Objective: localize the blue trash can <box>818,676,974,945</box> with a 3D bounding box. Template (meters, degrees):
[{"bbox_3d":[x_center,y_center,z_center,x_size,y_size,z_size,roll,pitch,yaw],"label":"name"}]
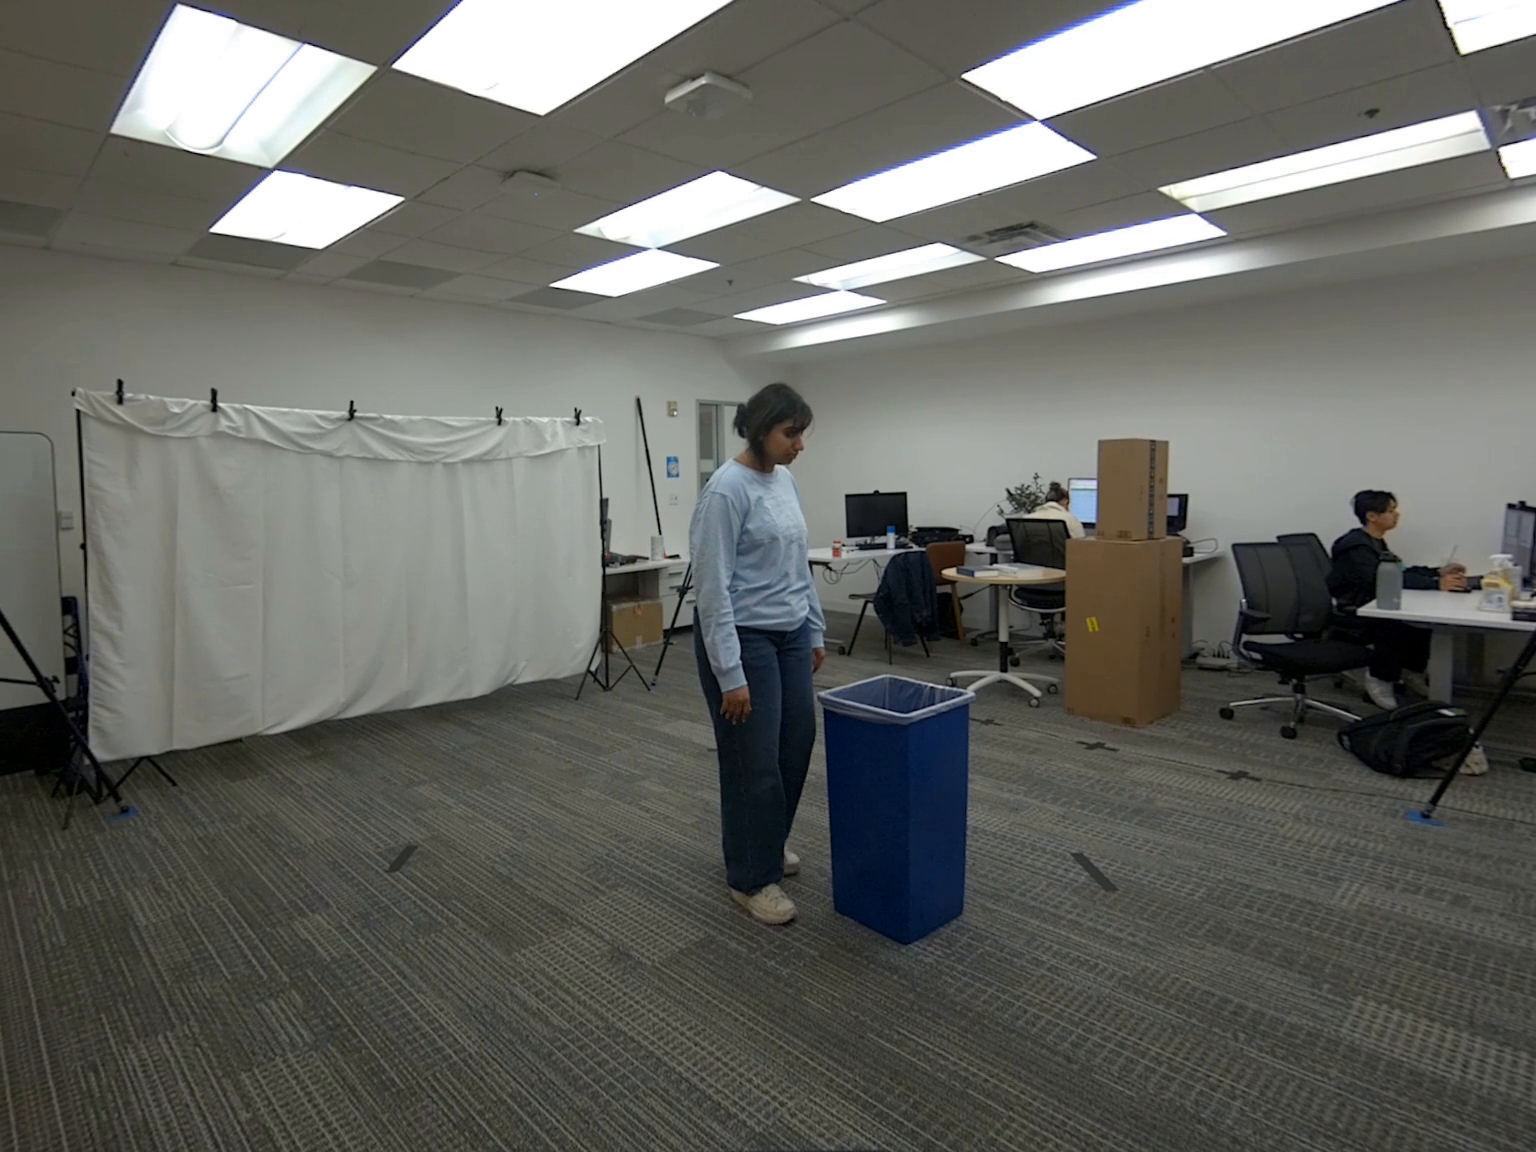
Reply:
[{"bbox_3d":[0.409,0.722,2.718,0.364,0.711,0.389,-5,5,-42],"label":"blue trash can"}]
